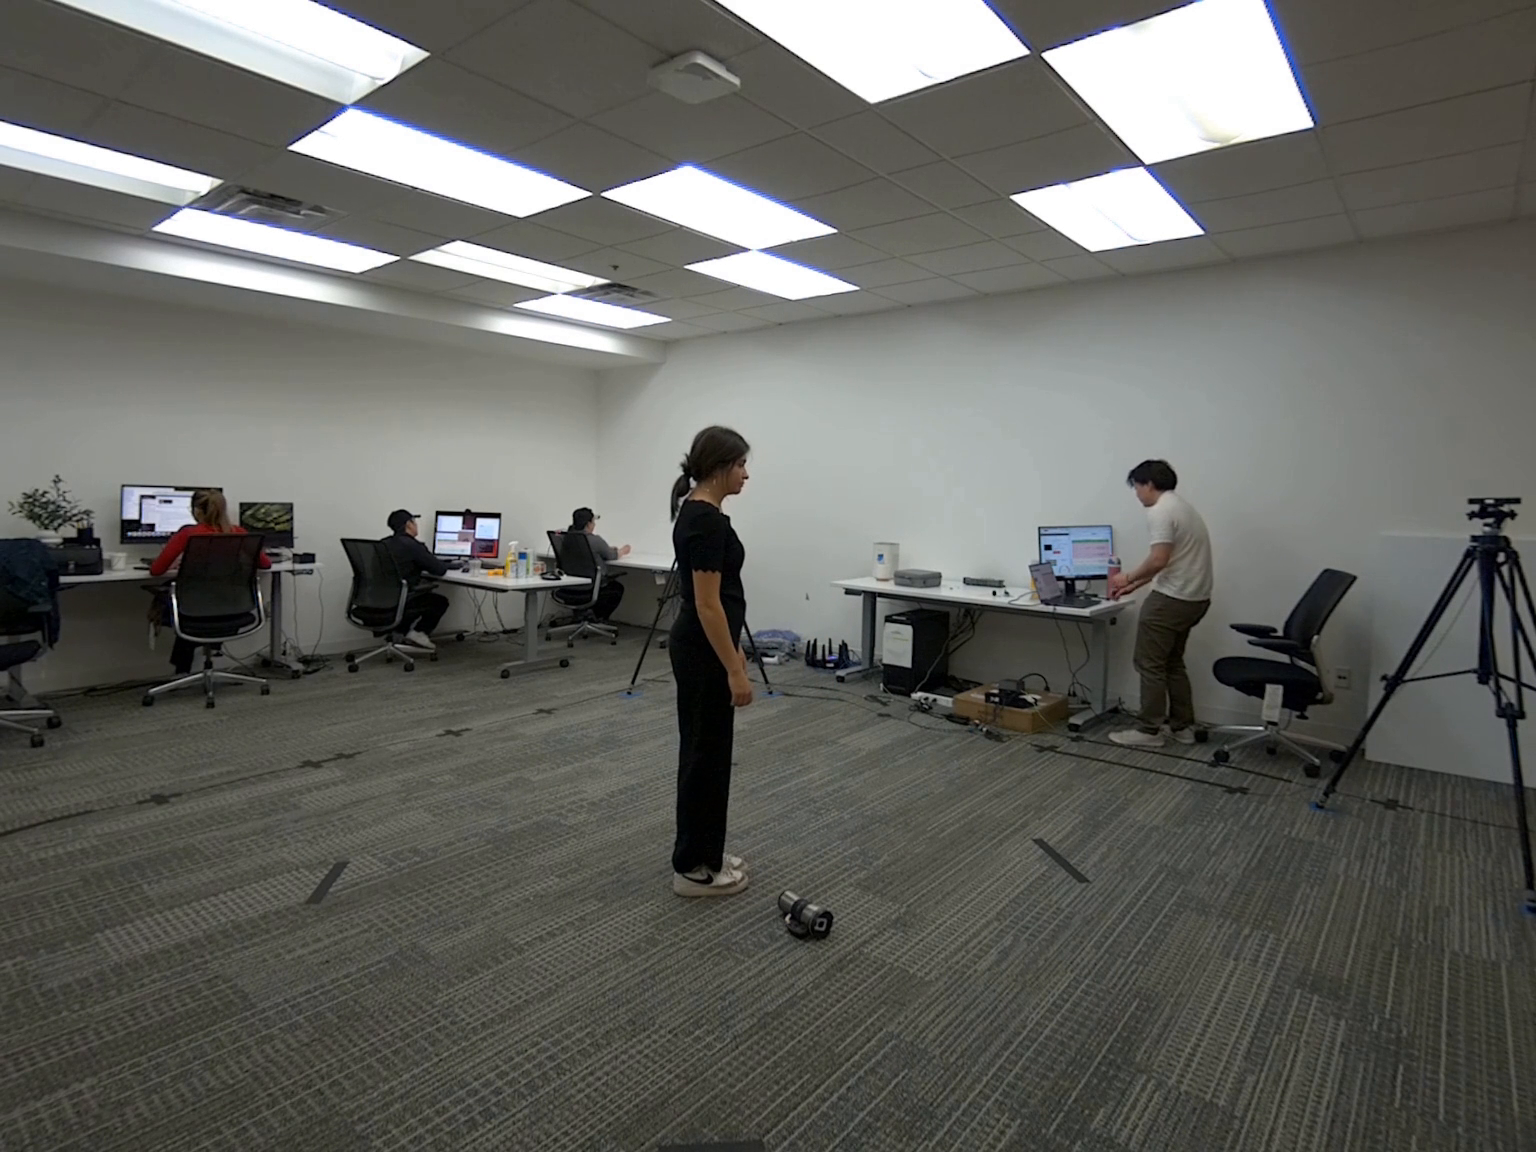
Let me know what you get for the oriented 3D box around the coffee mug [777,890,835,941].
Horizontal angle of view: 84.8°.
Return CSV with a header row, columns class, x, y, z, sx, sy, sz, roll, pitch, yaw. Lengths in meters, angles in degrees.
class,x,y,z,sx,sy,sz,roll,pitch,yaw
coffee mug,0.094,1.065,2.706,0.118,0.088,0.209,12,-3,-36
